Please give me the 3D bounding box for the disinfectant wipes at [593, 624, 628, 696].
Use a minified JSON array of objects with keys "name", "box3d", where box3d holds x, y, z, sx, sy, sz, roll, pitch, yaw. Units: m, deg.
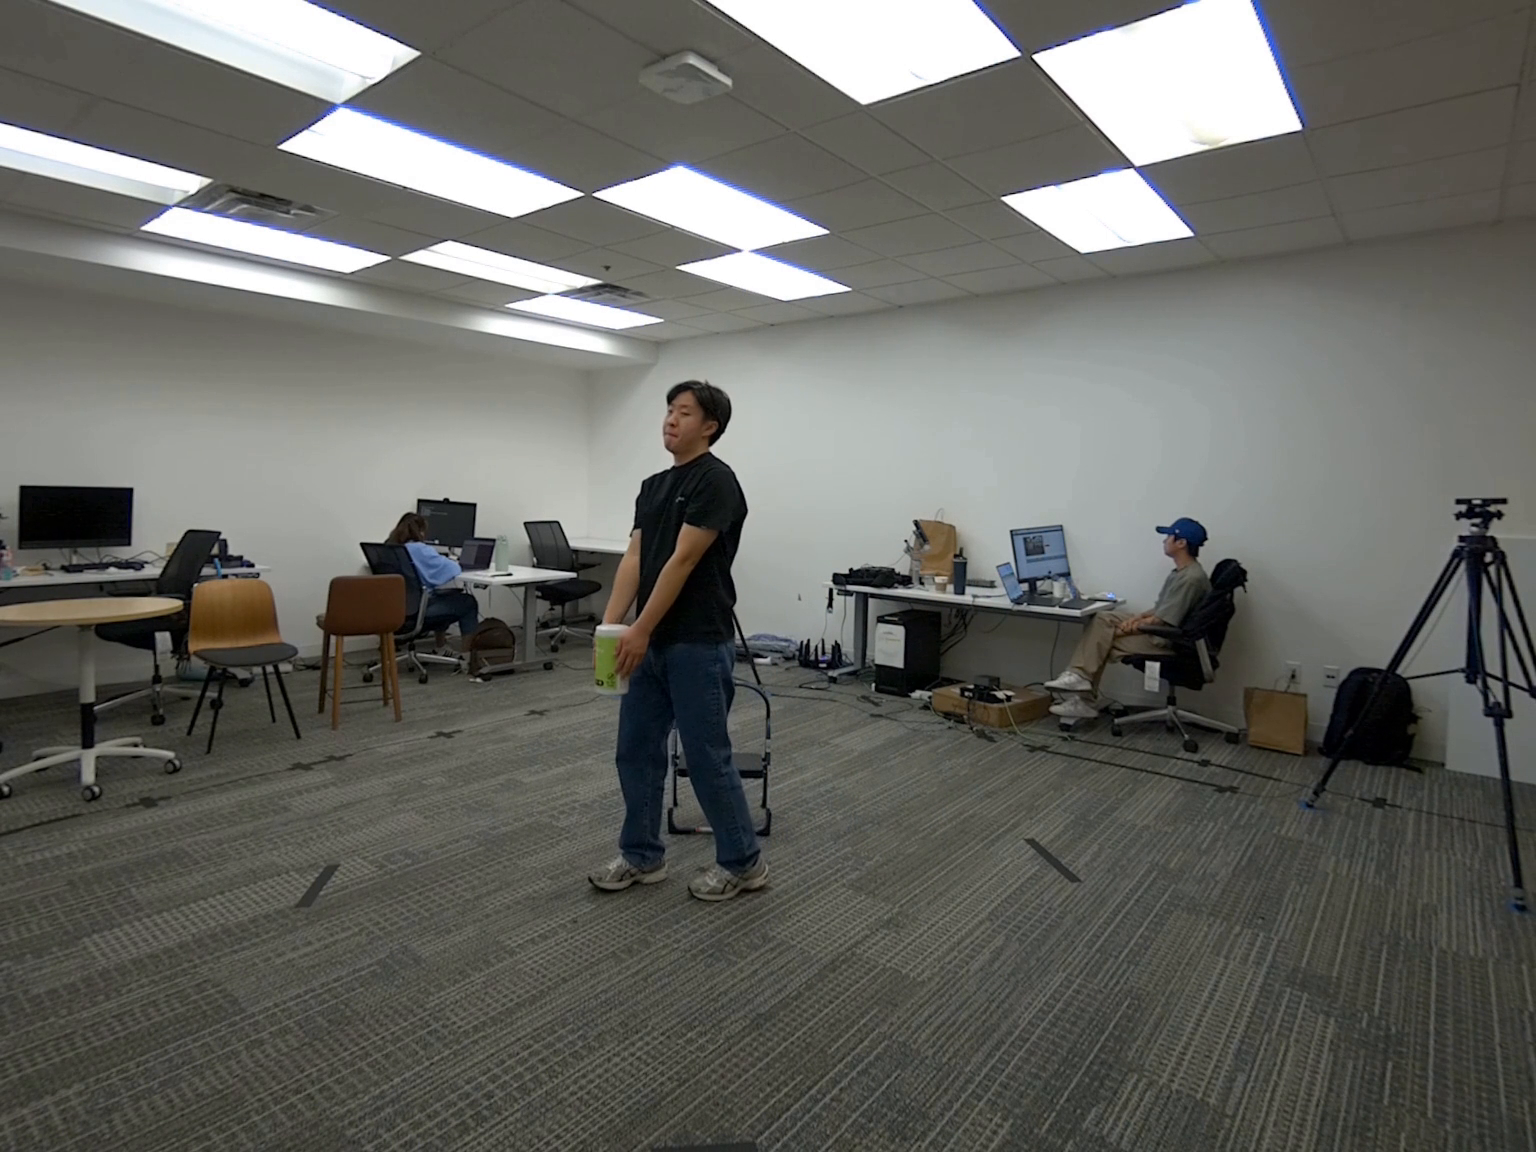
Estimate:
[{"name":"disinfectant wipes","box3d":[-0.524,0.272,2.761,0.118,0.217,0.118,1,2,-2]}]
